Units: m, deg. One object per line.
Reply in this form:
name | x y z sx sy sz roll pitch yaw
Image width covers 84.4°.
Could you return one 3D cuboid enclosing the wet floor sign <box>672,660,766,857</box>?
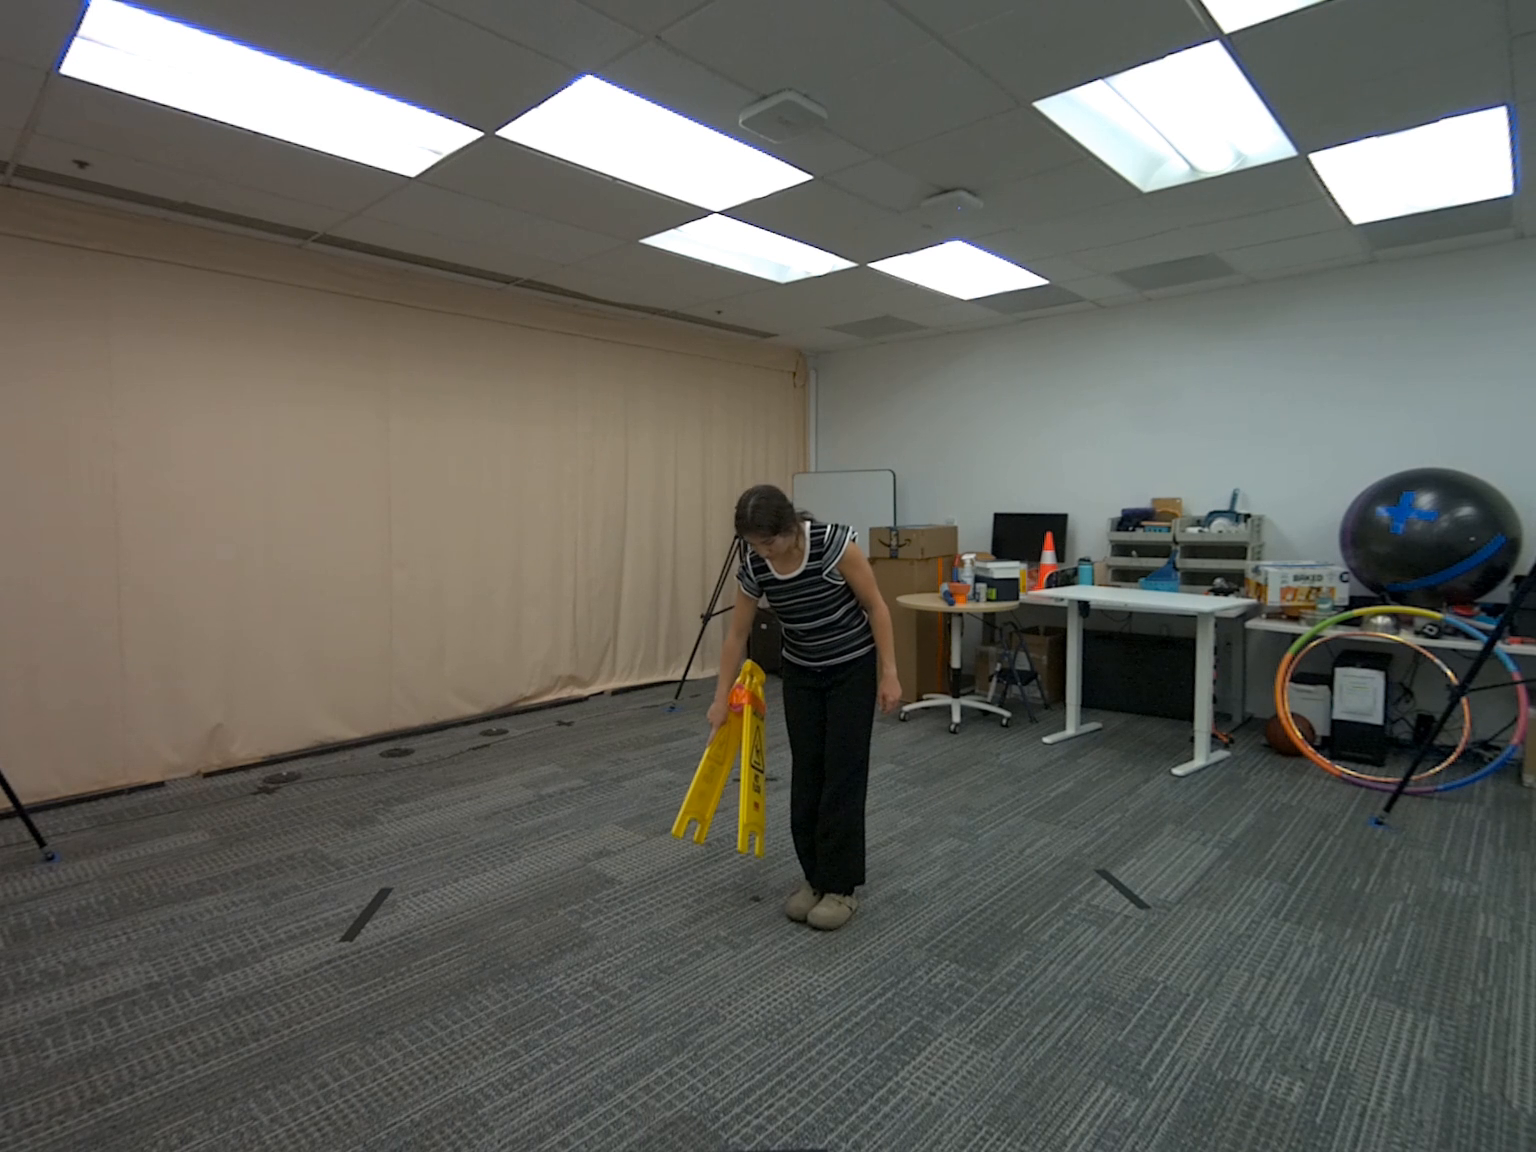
wet floor sign | -0.105 0.644 3.017 0.296 0.651 0.274 5 -21 20
